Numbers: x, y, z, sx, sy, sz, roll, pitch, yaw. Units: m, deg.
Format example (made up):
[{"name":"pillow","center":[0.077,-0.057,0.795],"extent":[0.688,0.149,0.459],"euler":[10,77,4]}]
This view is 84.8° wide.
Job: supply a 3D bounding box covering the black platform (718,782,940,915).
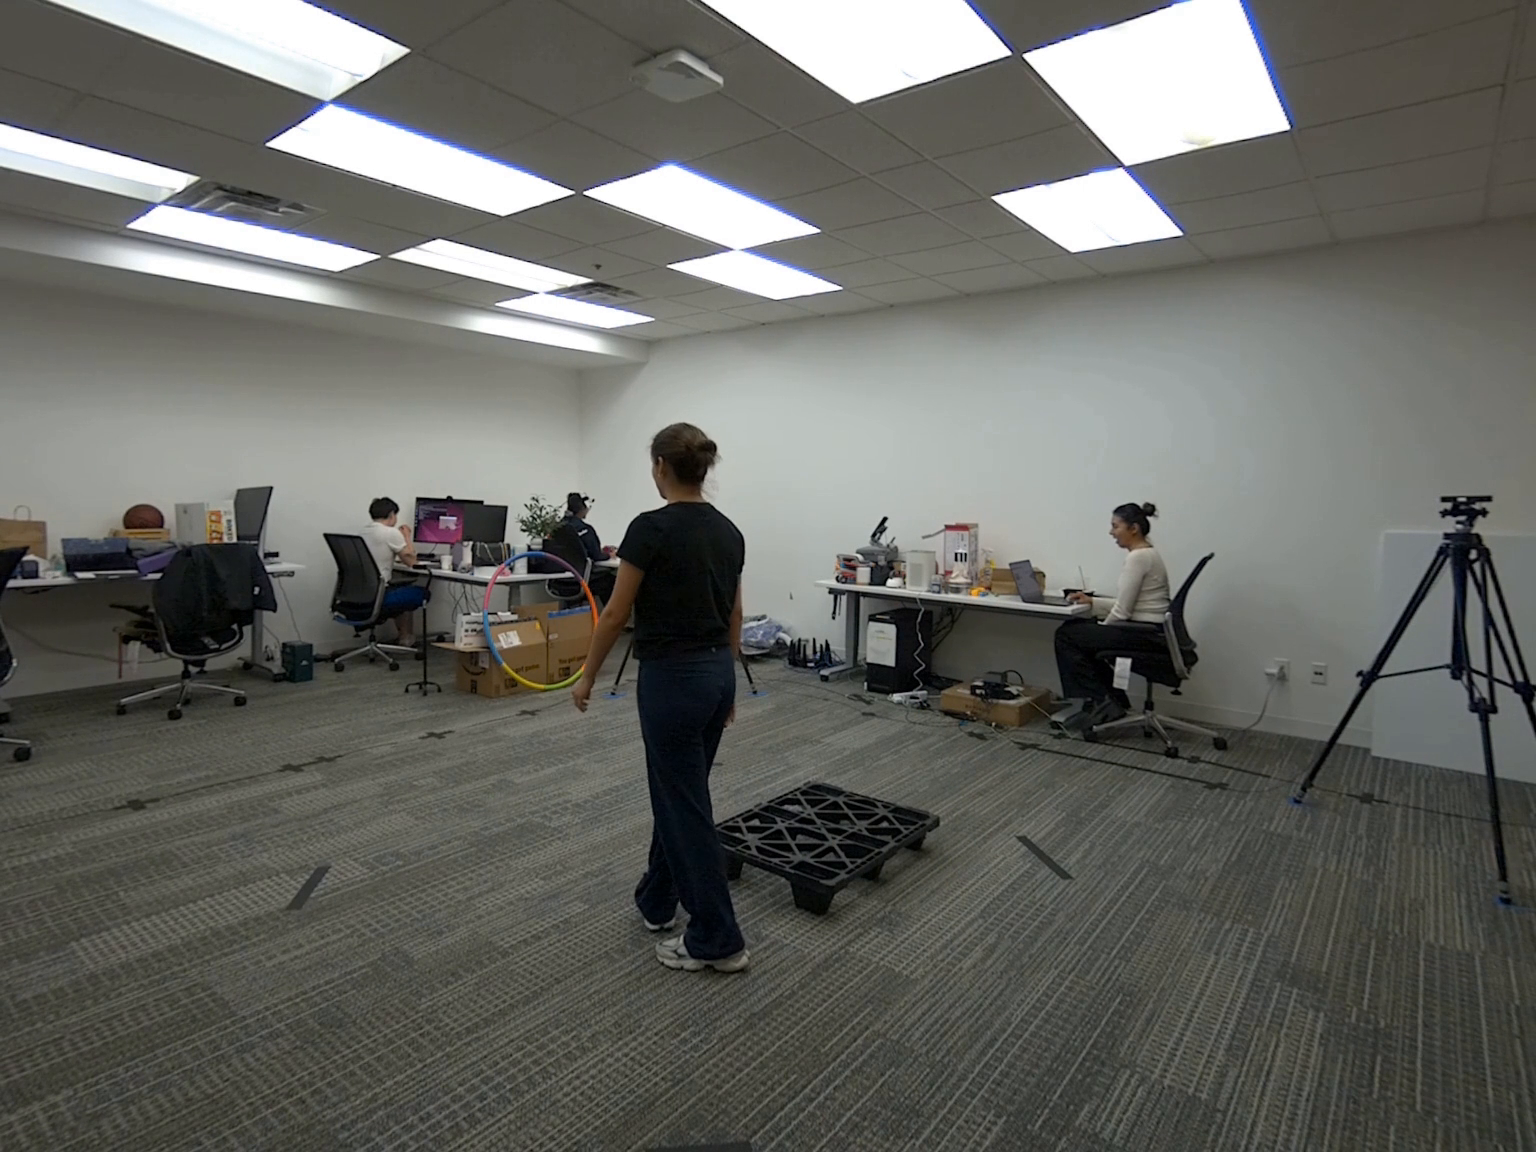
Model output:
[{"name":"black platform","center":[0.210,0.998,3.208],"extent":[0.625,0.143,0.782],"euler":[5,6,39]}]
